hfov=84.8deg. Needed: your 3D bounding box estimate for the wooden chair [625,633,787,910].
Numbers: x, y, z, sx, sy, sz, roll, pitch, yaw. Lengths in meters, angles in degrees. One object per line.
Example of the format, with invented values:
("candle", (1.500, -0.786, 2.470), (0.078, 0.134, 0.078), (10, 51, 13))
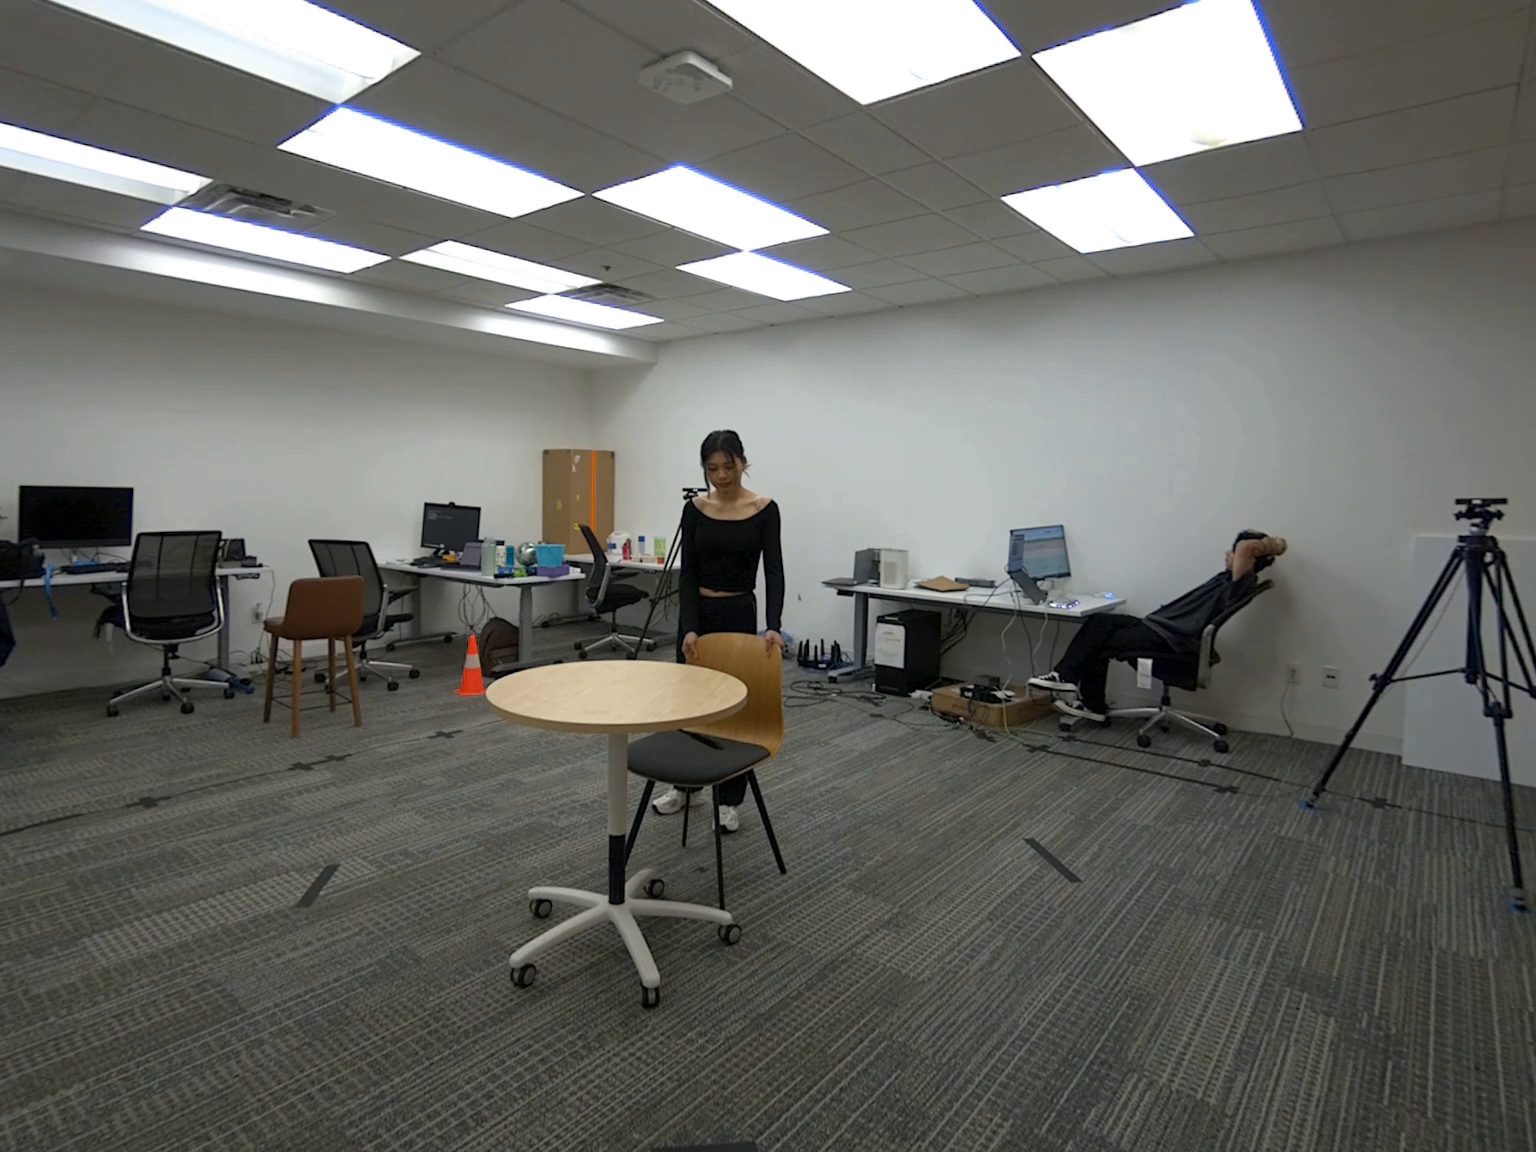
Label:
("wooden chair", (-0.237, 0.652, 2.982), (0.492, 0.878, 0.508), (3, 0, 29))
